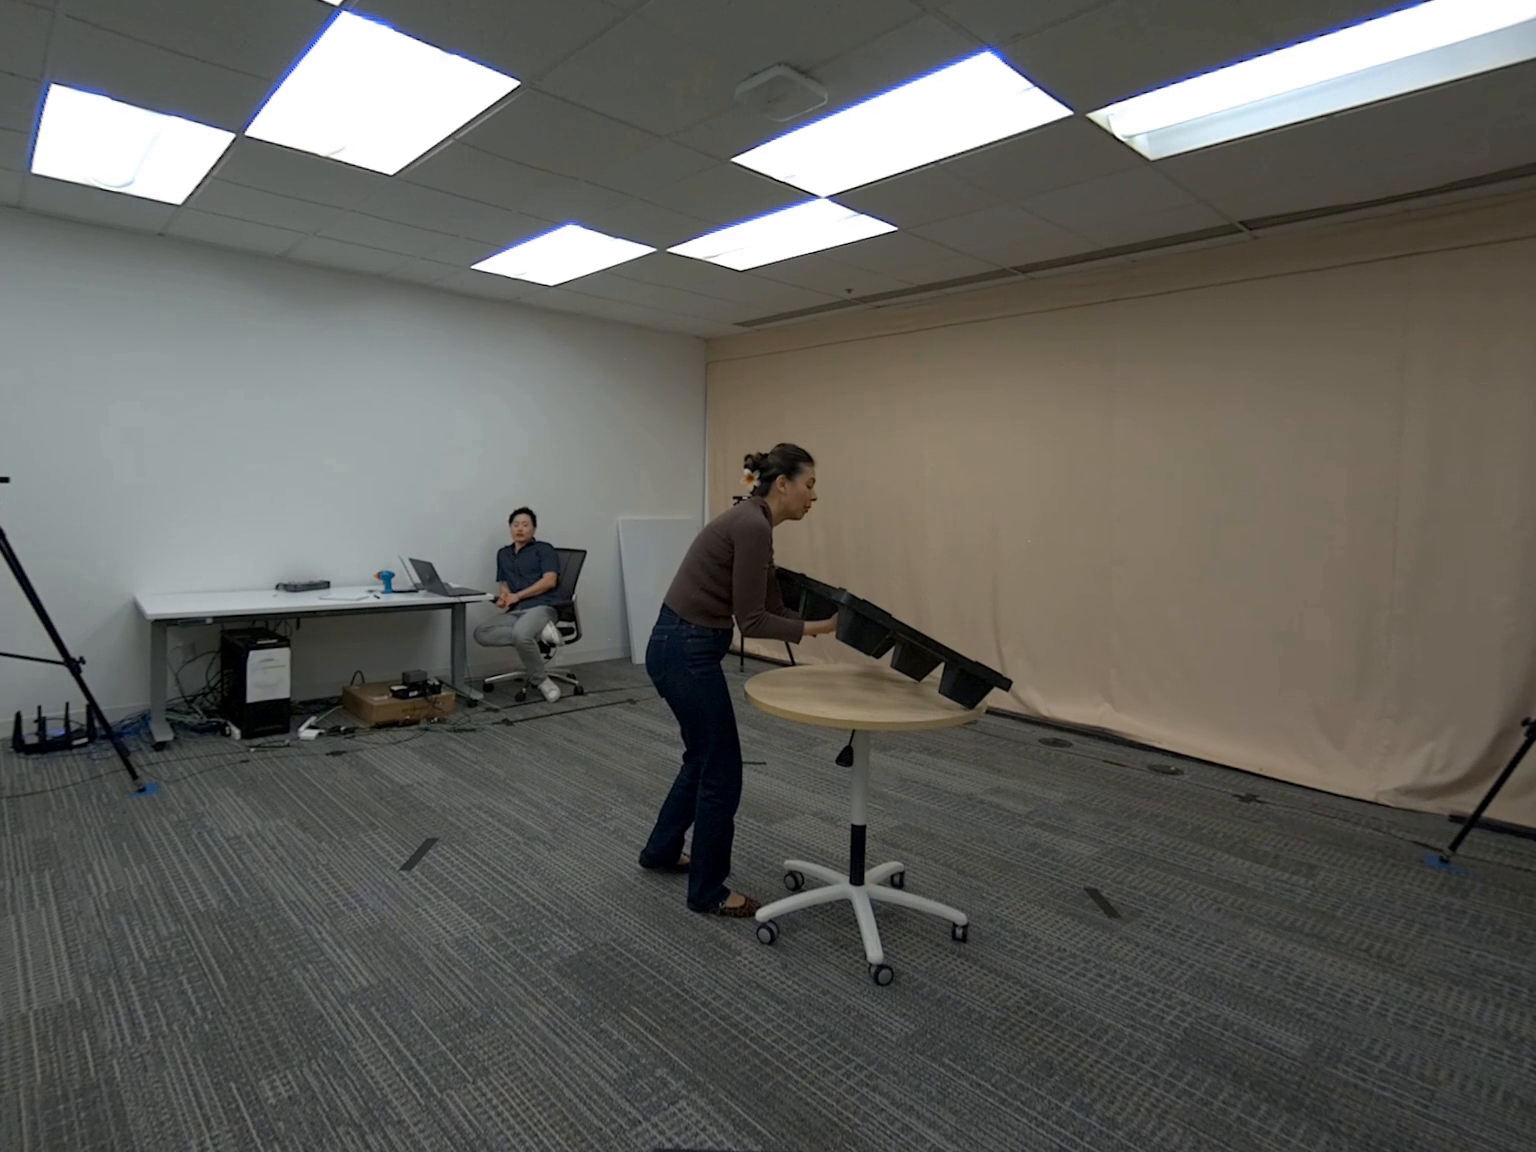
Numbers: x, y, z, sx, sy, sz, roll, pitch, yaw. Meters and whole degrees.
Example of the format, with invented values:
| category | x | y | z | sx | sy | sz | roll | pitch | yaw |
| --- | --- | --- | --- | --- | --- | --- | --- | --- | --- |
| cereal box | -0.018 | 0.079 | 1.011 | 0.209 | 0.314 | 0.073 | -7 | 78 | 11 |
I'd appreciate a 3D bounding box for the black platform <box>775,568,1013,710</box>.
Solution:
| category | x | y | z | sx | sy | sz | roll | pitch | yaw |
| --- | --- | --- | --- | --- | --- | --- | --- | --- | --- |
| black platform | 0.322 | 0.185 | 2.775 | 0.595 | 0.143 | 0.818 | 29 | -1 | -16 |
